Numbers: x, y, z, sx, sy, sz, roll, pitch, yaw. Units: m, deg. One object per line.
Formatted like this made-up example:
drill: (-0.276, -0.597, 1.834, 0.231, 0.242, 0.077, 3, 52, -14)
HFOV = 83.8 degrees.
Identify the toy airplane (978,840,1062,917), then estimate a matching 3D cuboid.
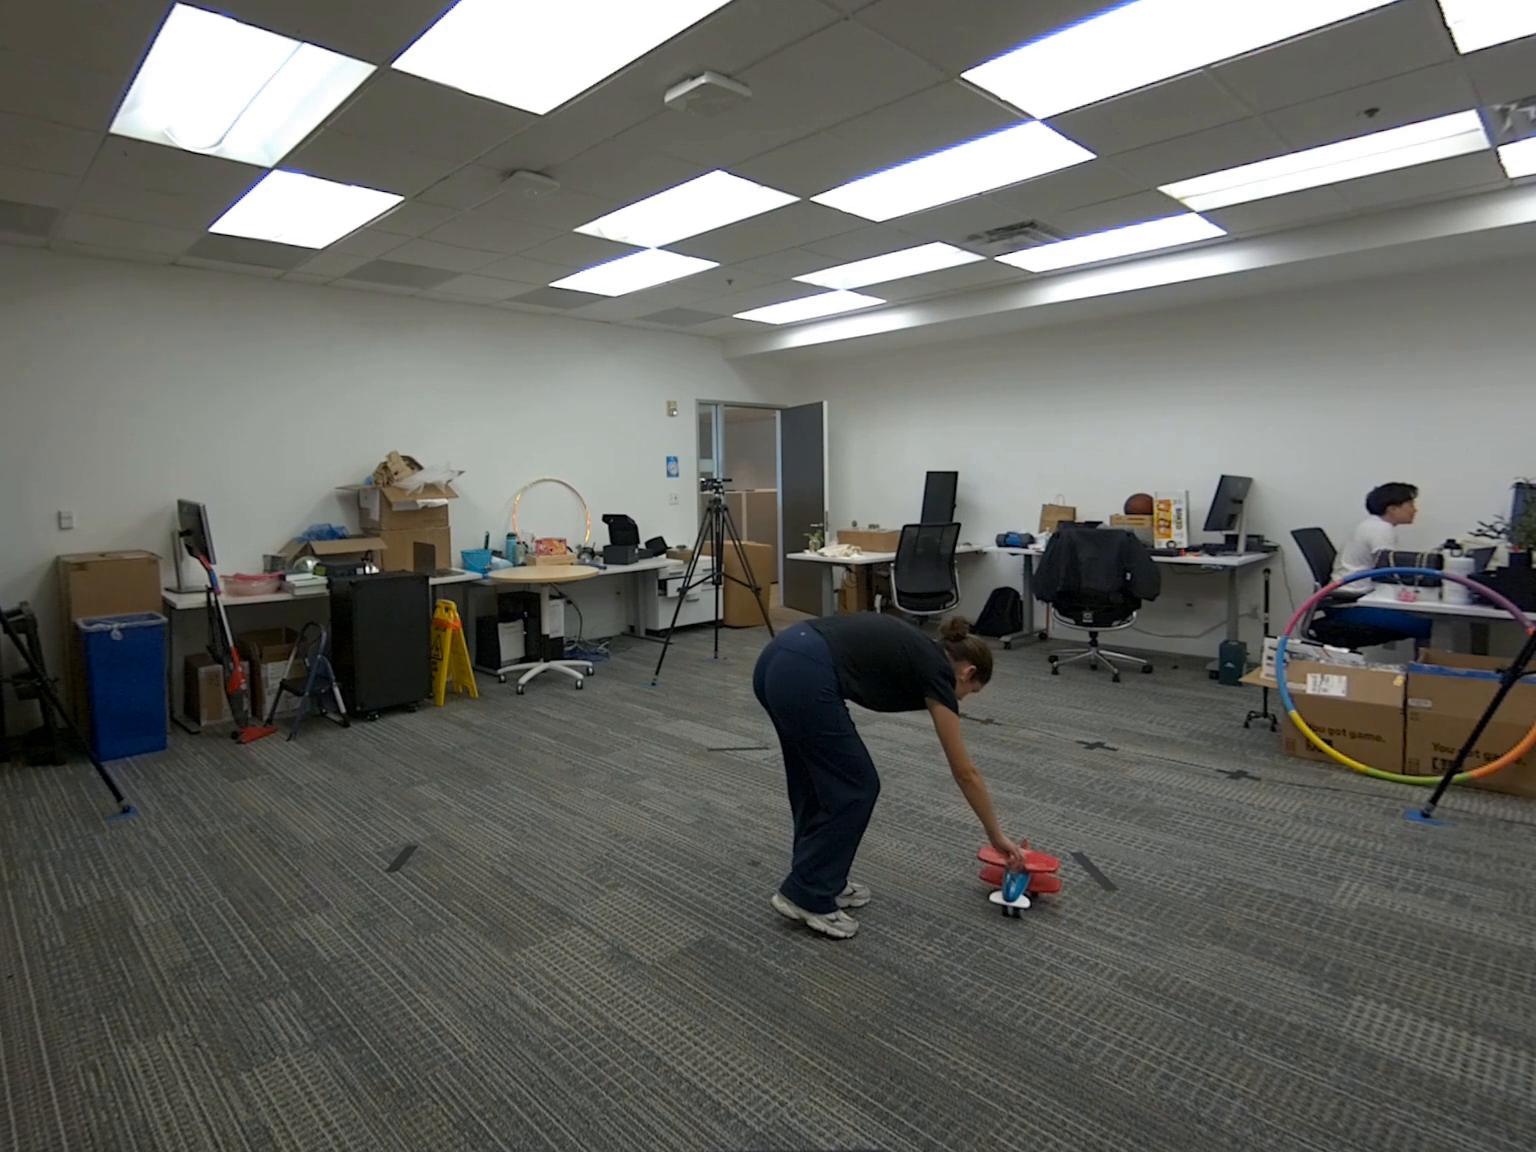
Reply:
toy airplane: (0.827, 0.988, 2.769, 0.251, 0.156, 0.259, -3, 3, 1)
